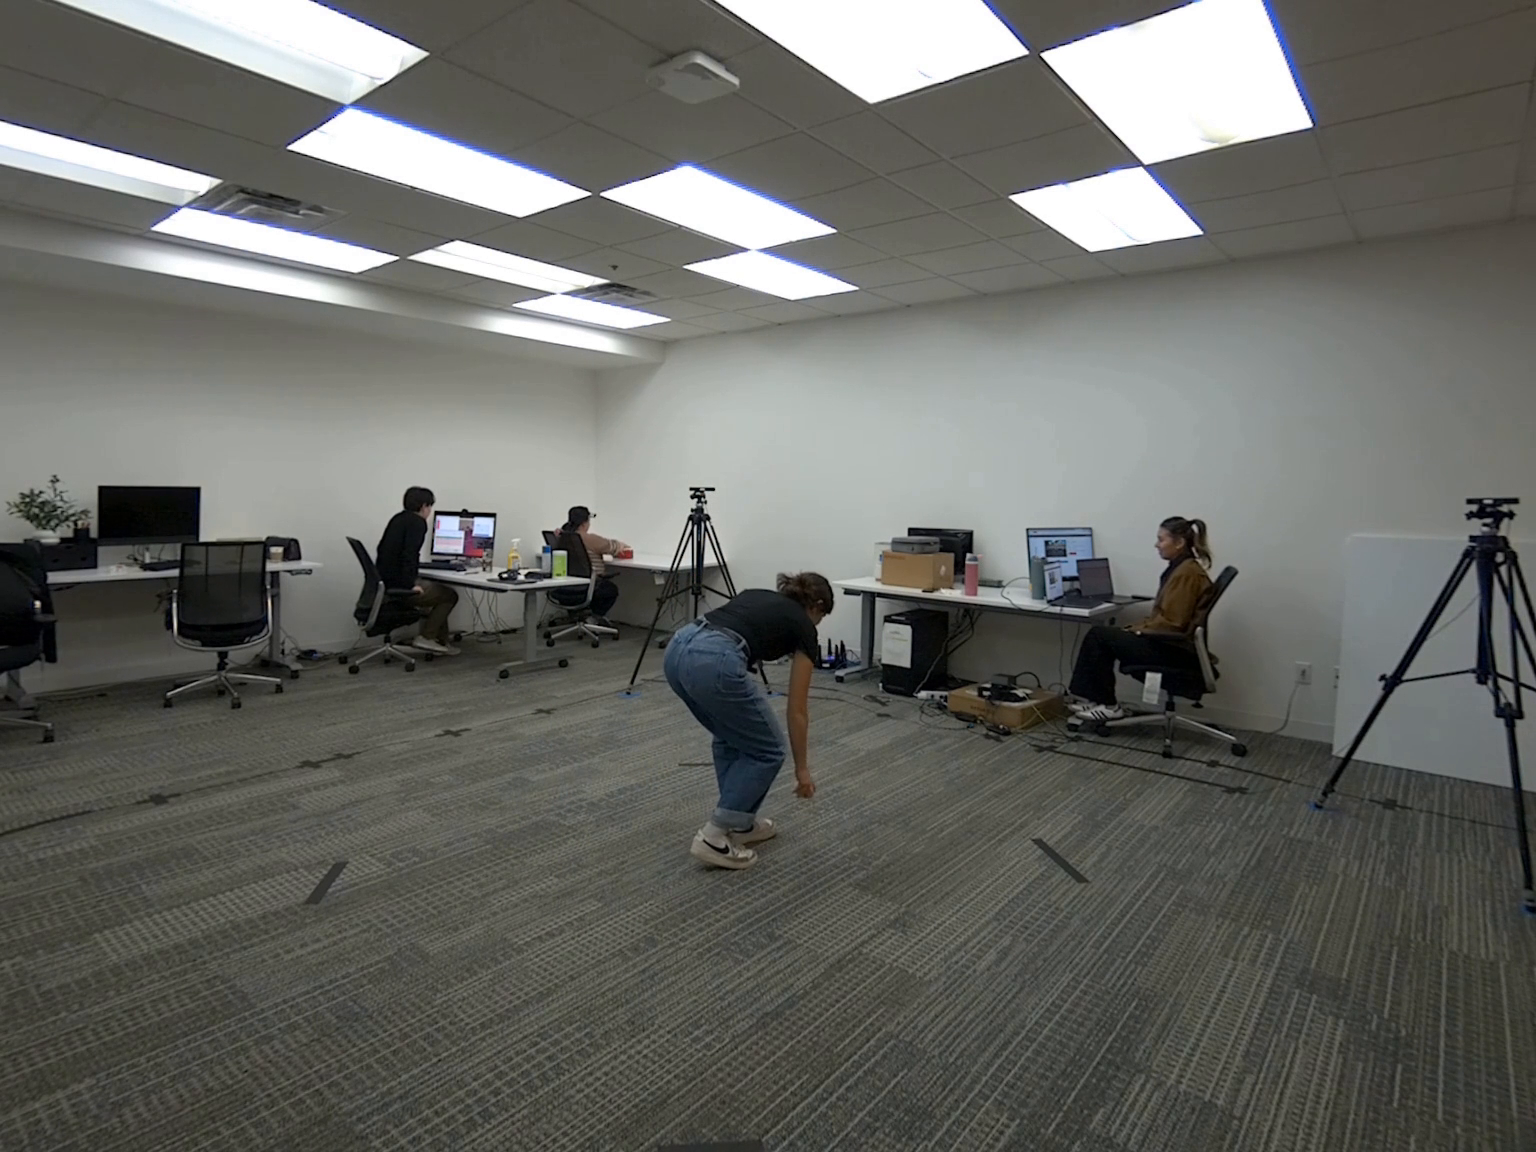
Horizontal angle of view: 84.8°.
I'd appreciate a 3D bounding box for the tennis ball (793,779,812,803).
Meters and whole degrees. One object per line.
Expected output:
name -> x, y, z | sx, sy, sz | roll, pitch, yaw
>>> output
tennis ball -> 0.135, 0.855, 3.356 | 0.066, 0.066, 0.067 | 1, 4, -2
